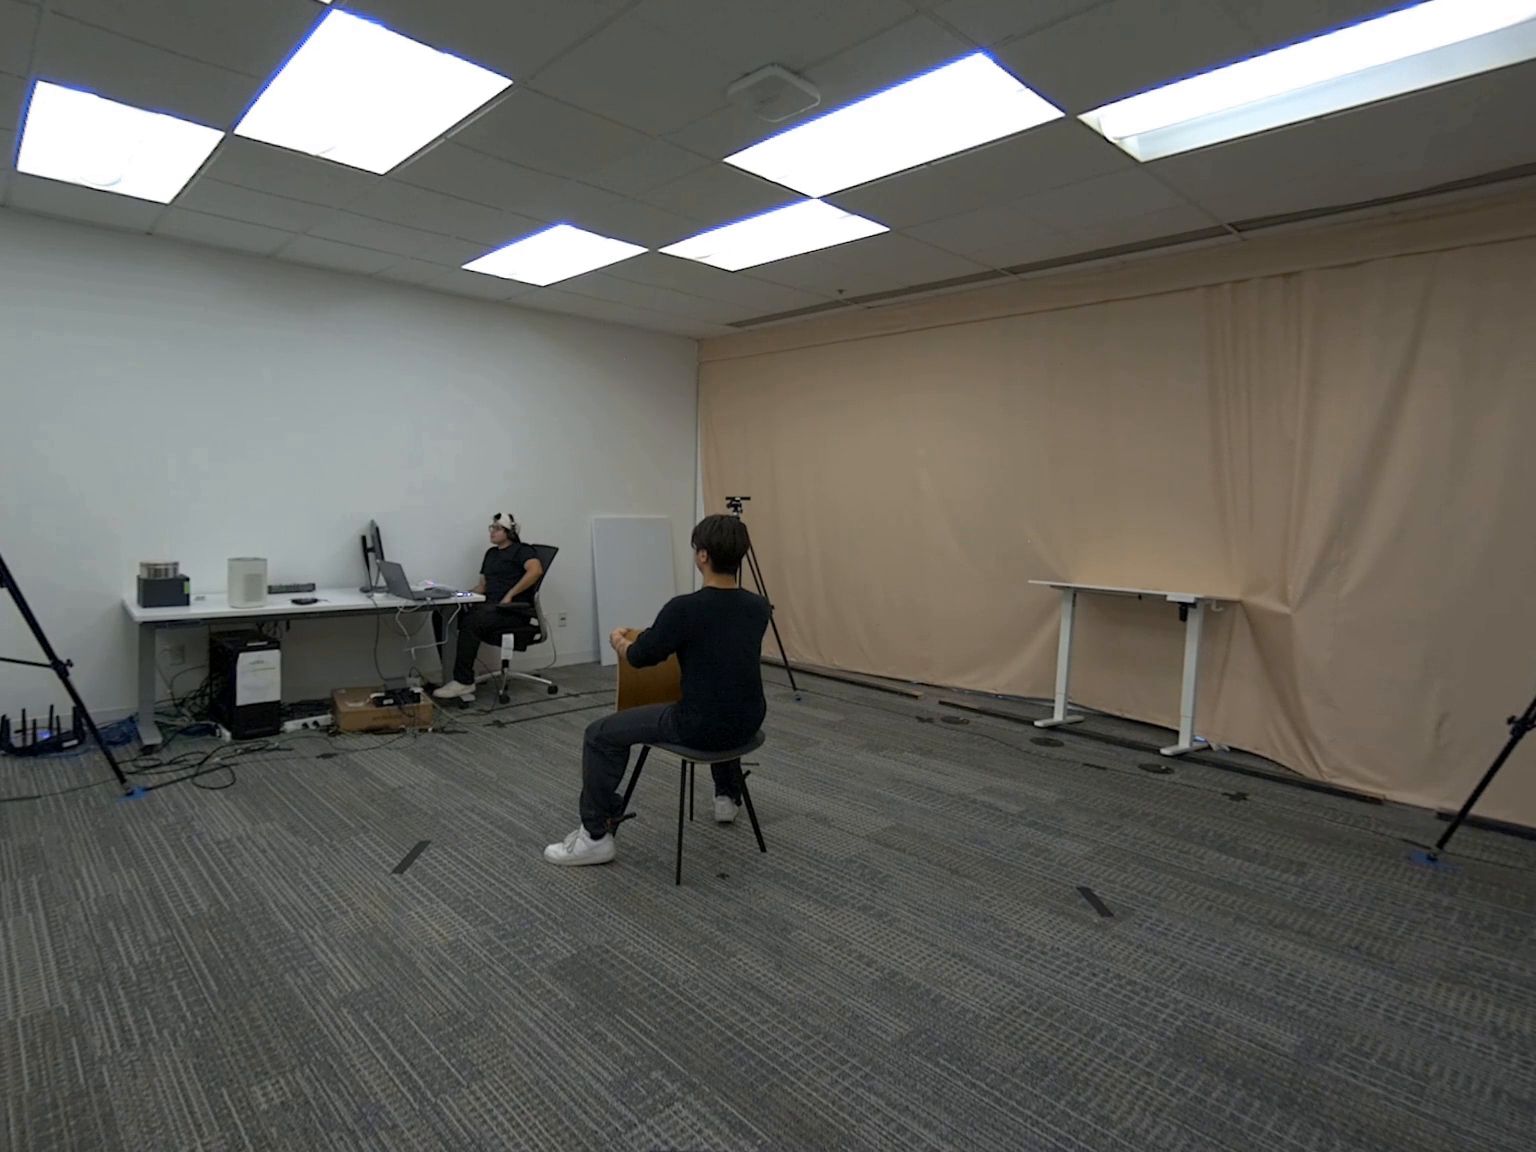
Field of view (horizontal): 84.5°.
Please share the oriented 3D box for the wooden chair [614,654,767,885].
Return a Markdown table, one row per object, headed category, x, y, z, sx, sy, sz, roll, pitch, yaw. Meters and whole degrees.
| category | x | y | z | sx | sy | sz | roll | pitch | yaw |
| --- | --- | --- | --- | --- | --- | --- | --- | --- | --- |
| wooden chair | -0.307 | 0.656 | 3.292 | 0.467 | 0.877 | 0.535 | -1 | 0 | -43 |
